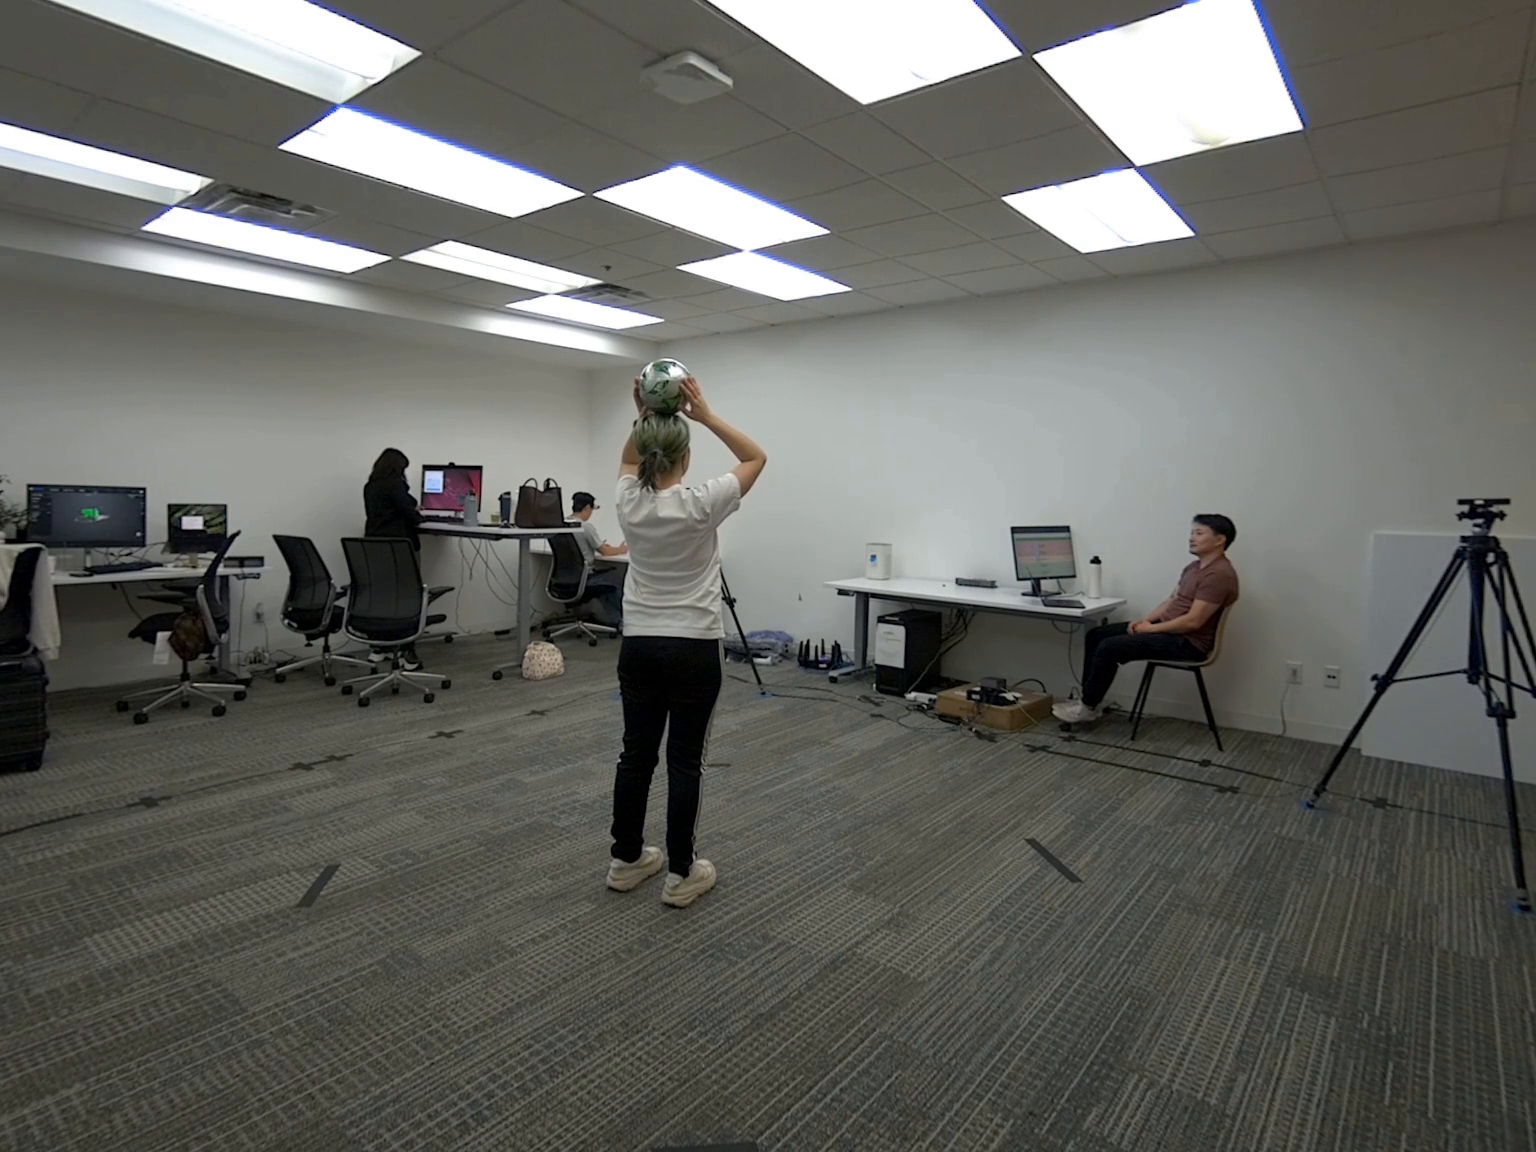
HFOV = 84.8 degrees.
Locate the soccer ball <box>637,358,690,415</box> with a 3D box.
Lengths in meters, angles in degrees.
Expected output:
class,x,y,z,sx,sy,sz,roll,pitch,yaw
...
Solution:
class,x,y,z,sx,sy,sz,roll,pitch,yaw
soccer ball,-0.357,-0.640,2.875,0.187,0.187,0.188,1,4,-2
